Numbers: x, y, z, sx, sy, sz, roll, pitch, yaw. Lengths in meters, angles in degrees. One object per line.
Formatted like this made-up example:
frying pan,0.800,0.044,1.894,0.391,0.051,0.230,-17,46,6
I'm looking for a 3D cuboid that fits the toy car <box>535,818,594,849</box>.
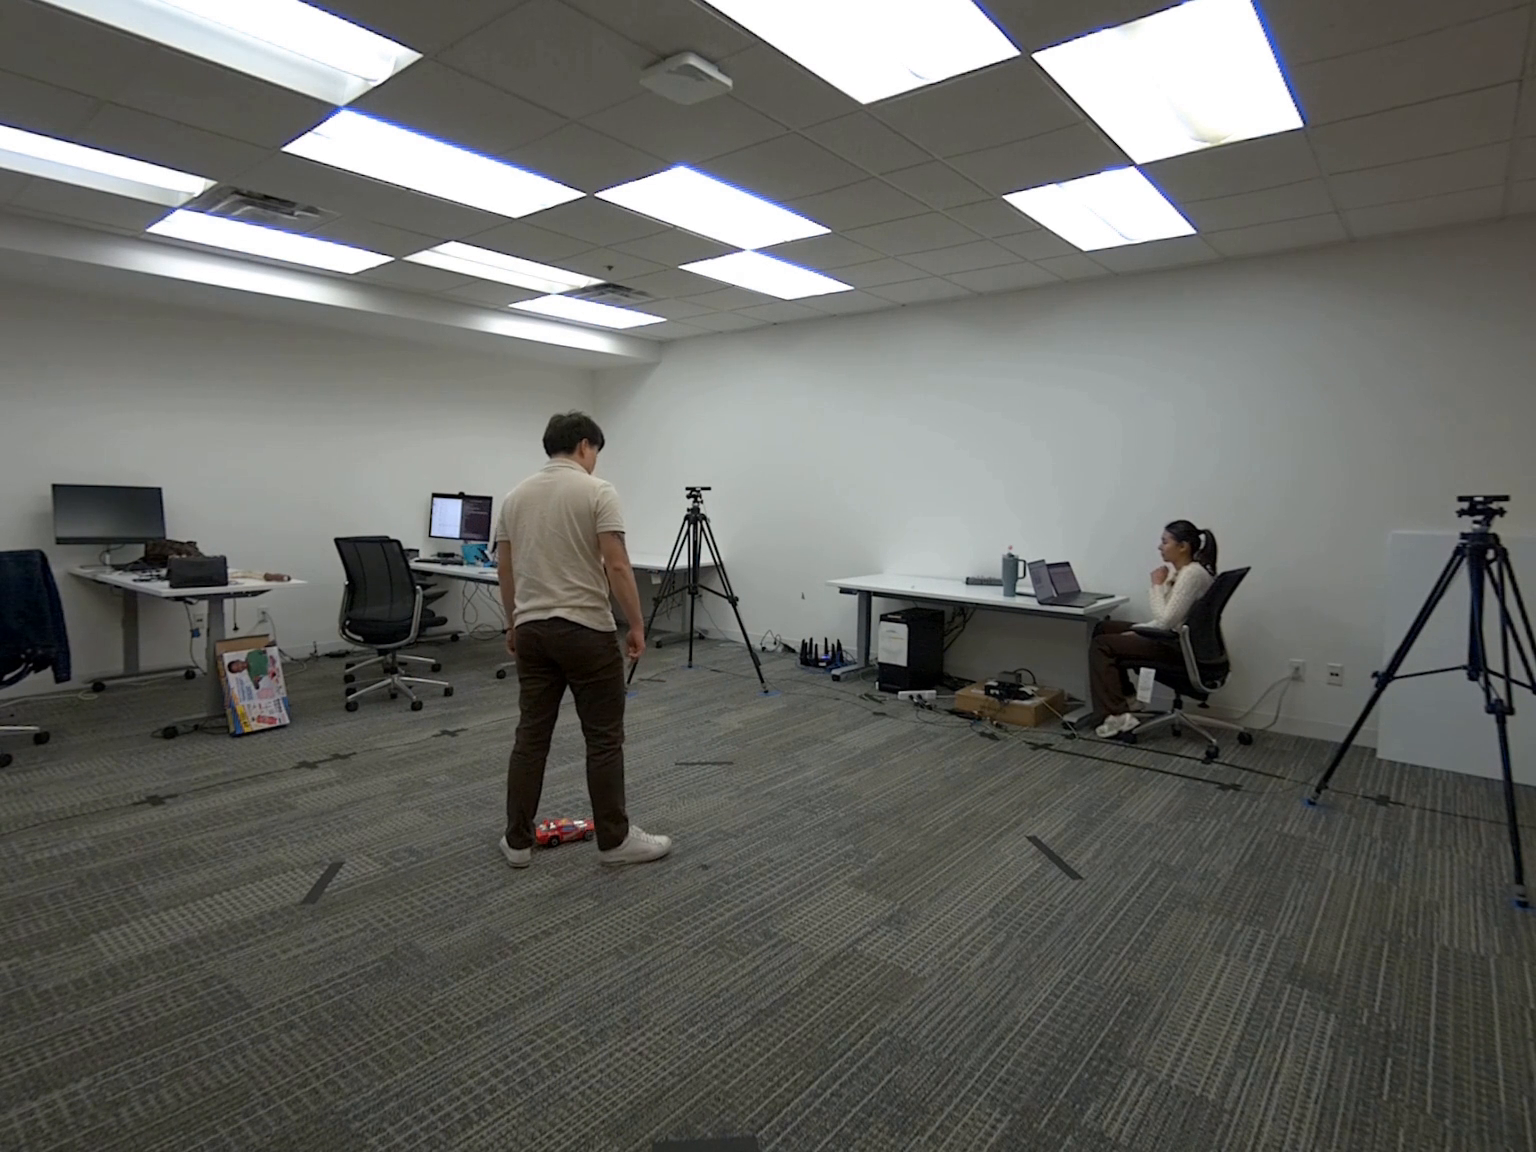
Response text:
toy car,-0.824,1.004,3.334,0.246,0.083,0.134,10,0,-32
